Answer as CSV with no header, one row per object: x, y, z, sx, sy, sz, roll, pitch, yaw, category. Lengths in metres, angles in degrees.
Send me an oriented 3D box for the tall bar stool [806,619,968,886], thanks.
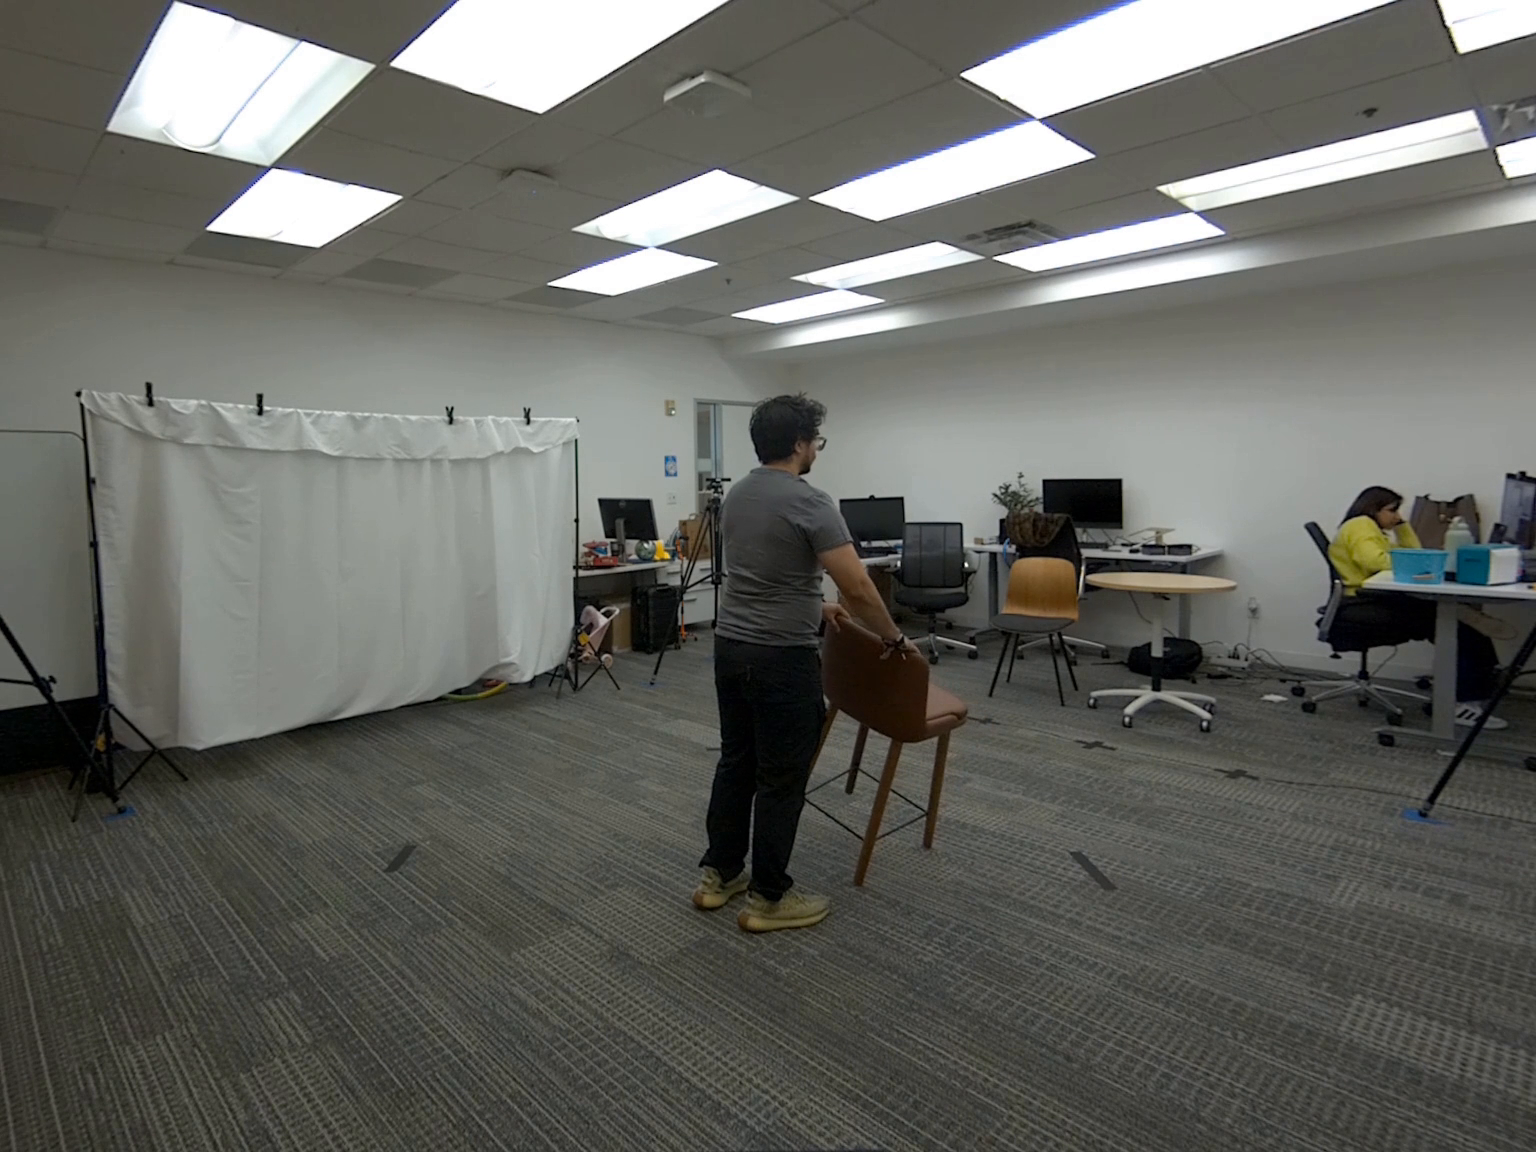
0.406,0.567,3.066,0.473,0.879,0.456,24,22,39,tall bar stool
